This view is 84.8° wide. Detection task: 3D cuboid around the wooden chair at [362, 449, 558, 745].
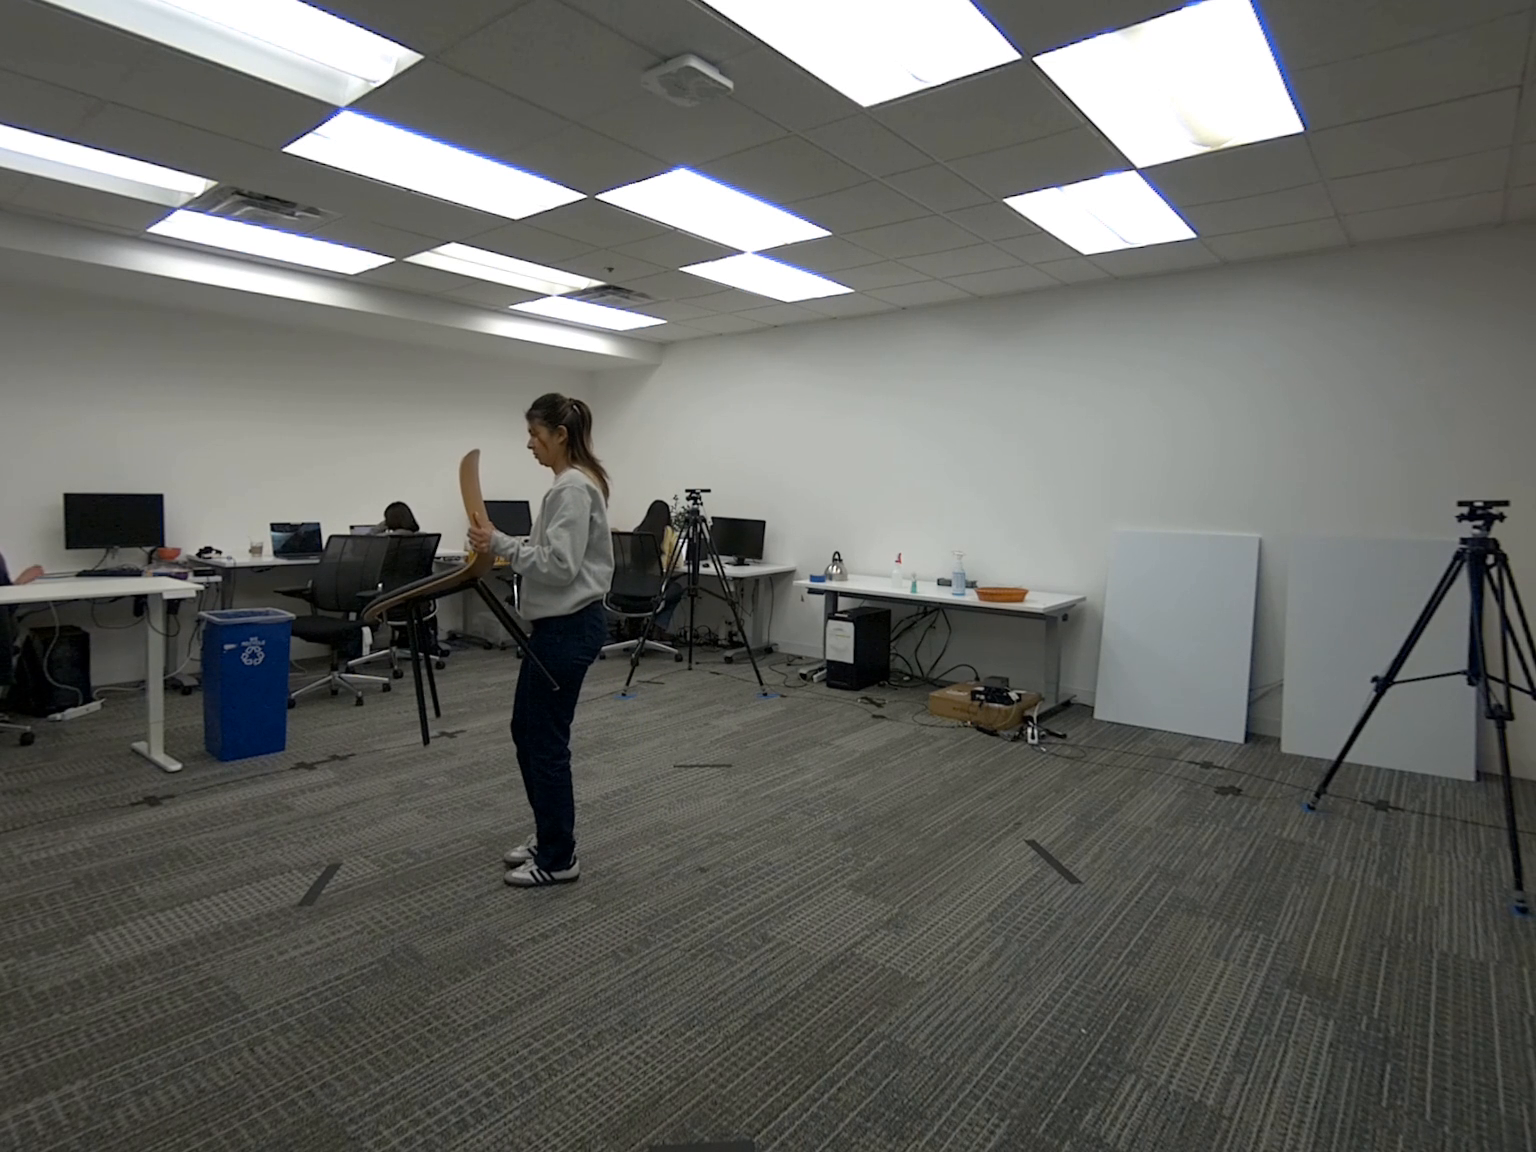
[{"bbox_3d":[-1.134,0.056,2.937,0.518,0.872,0.486,-18,6,-14],"label":"wooden chair"}]
